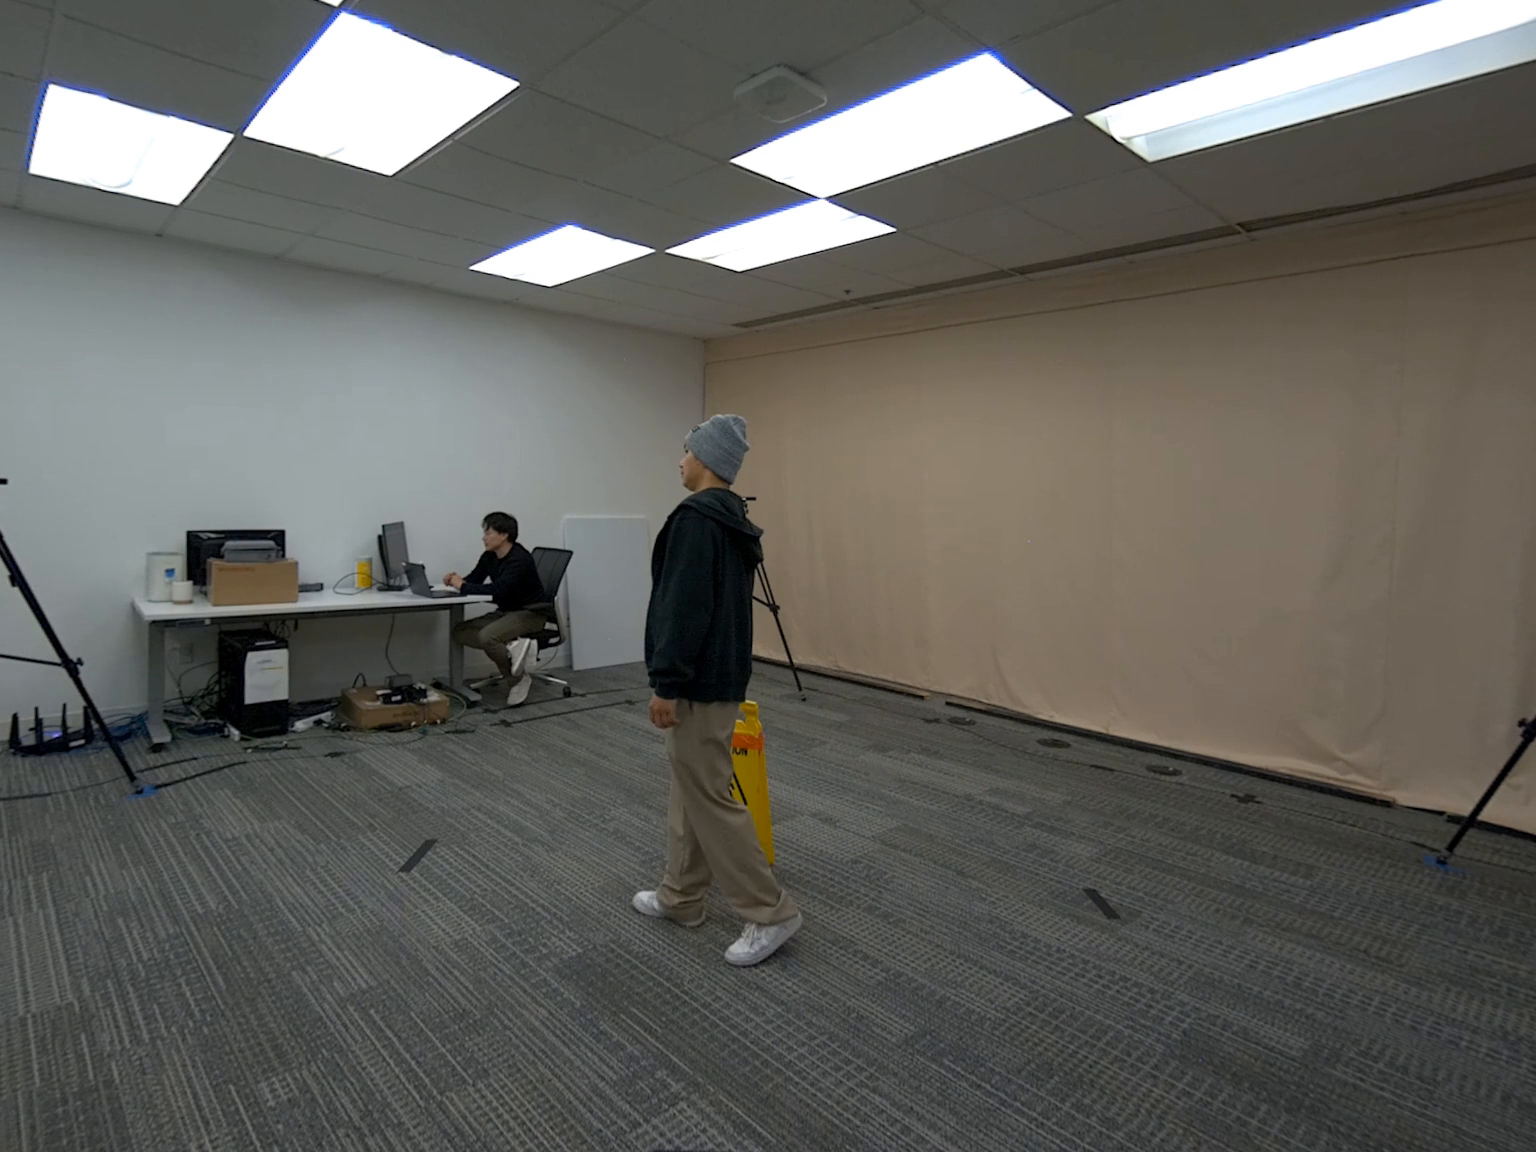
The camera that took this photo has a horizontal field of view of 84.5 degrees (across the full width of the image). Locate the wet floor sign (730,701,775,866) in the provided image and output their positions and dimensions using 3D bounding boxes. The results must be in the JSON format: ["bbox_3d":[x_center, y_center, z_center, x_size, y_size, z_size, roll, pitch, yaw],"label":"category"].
[{"bbox_3d":[-0.141,0.782,3.132,0.287,0.645,0.286,4,3,19],"label":"wet floor sign"}]
